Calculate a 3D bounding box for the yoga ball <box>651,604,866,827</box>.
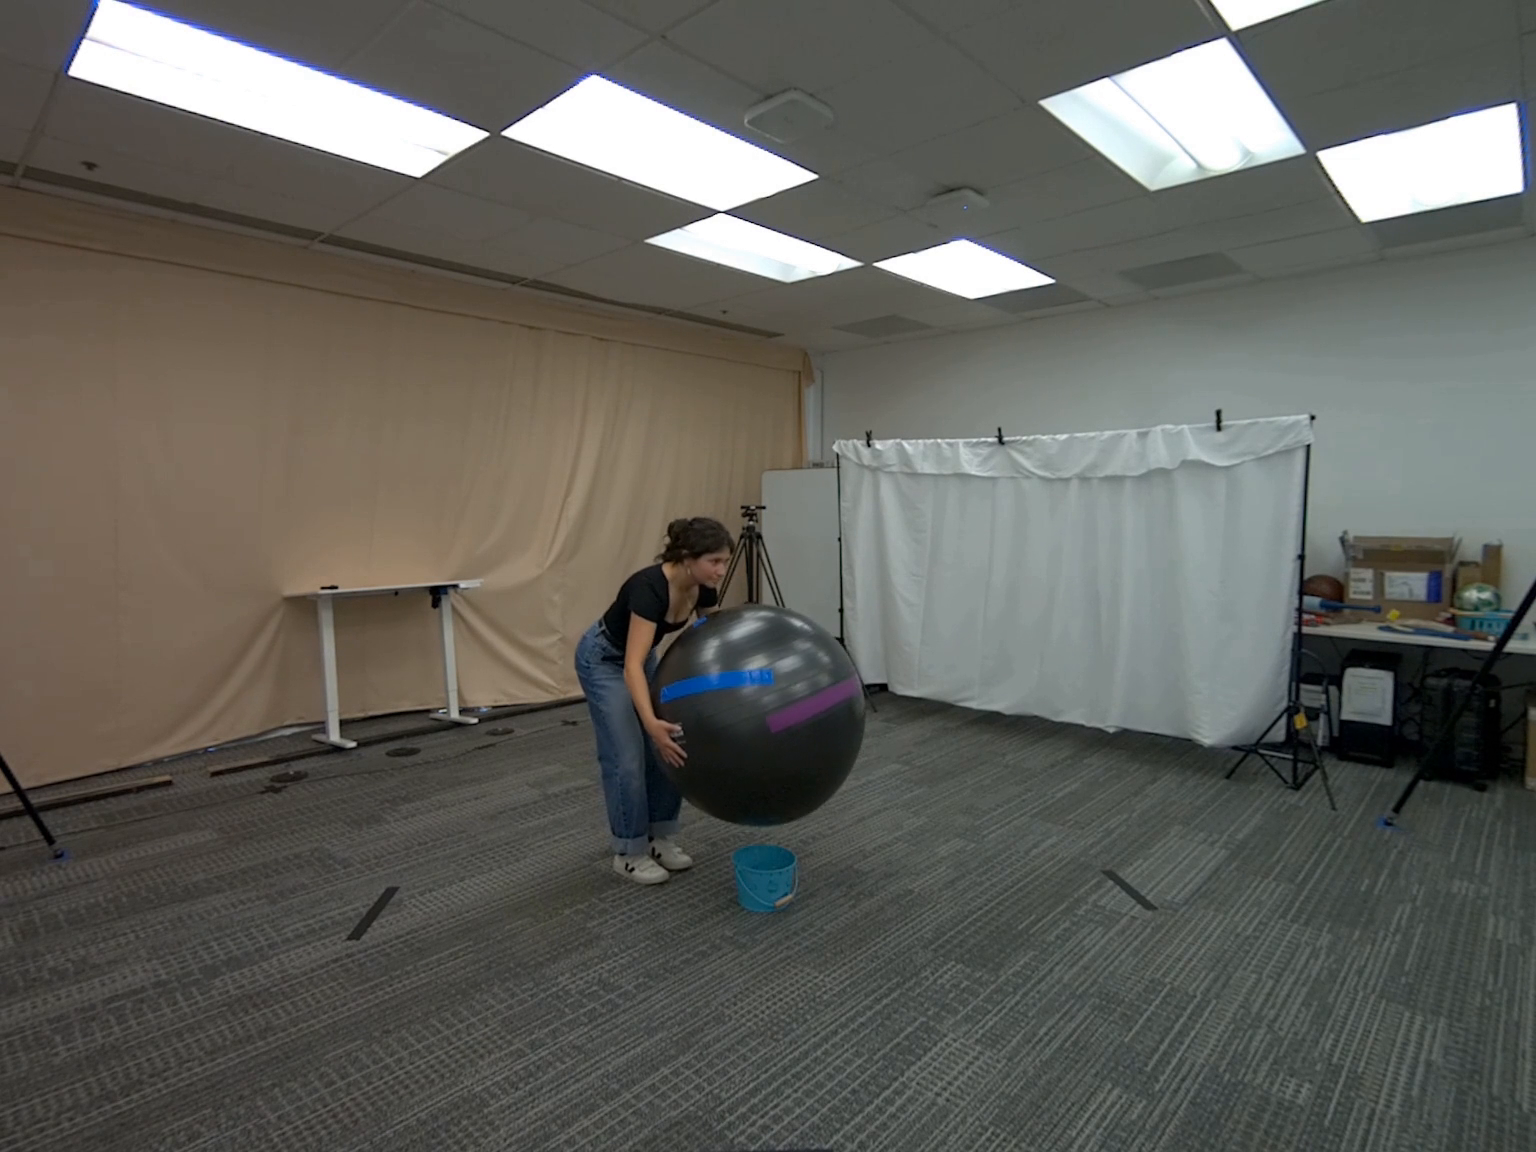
[{"bbox_3d":[-0.043,0.474,2.943,0.757,0.756,0.760,0,4,-2],"label":"yoga ball"}]
